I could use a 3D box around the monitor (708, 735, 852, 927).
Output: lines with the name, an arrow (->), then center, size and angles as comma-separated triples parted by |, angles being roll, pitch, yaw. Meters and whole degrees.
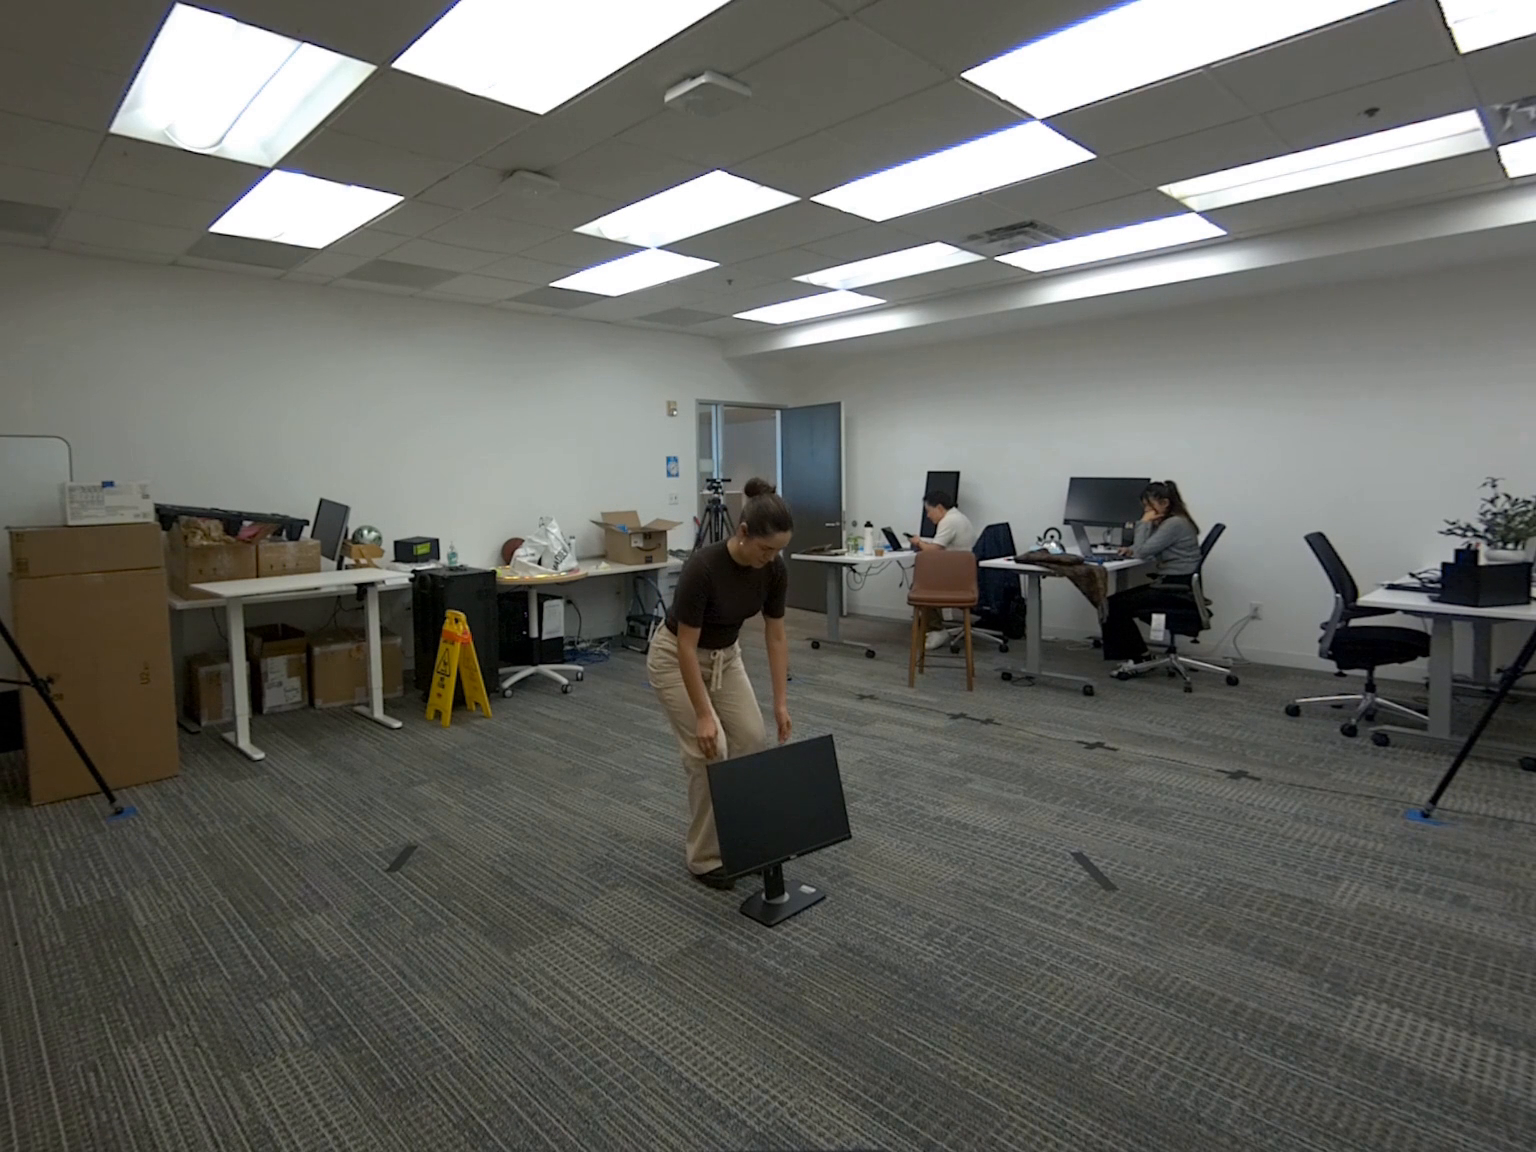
monitor -> 0.028, 0.828, 2.797 | 0.525, 0.521, 0.192 | -5, 4, -42
